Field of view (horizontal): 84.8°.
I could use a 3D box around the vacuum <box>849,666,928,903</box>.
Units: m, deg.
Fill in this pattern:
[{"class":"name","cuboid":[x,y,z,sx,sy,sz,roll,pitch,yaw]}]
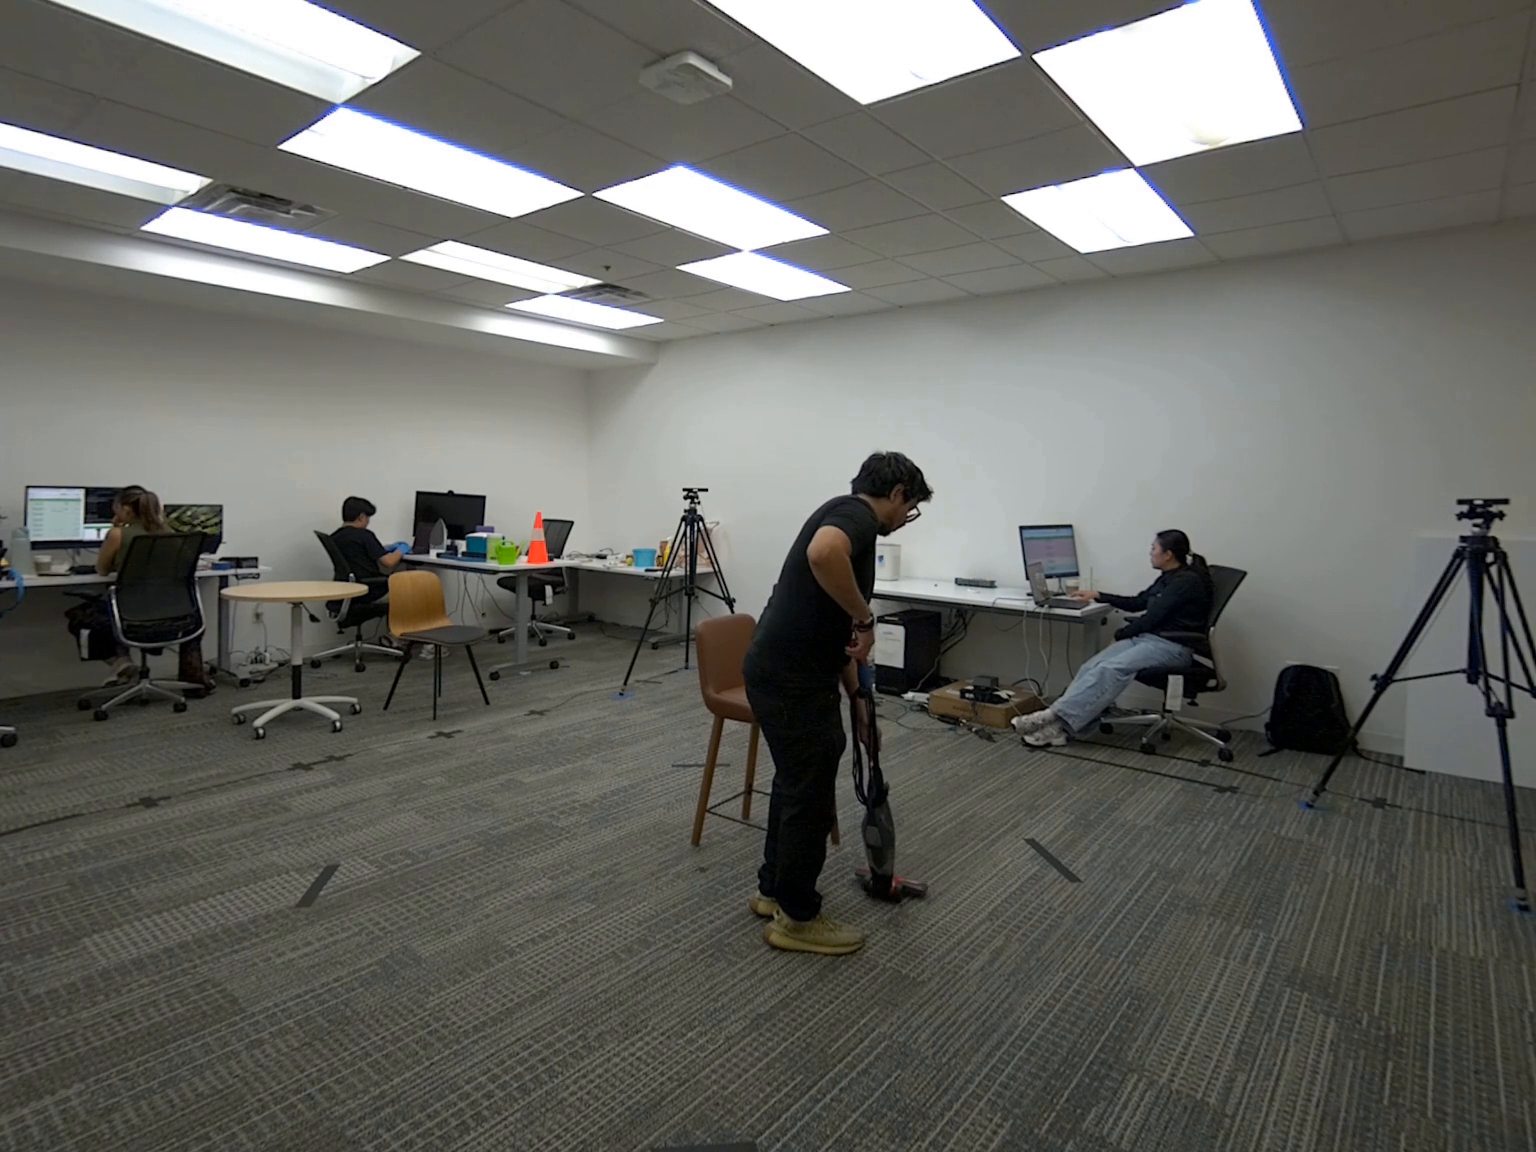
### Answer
[{"class":"vacuum","cuboid":[0.334,0.654,2.734,0.260,1.021,0.144,5,30,28]}]
